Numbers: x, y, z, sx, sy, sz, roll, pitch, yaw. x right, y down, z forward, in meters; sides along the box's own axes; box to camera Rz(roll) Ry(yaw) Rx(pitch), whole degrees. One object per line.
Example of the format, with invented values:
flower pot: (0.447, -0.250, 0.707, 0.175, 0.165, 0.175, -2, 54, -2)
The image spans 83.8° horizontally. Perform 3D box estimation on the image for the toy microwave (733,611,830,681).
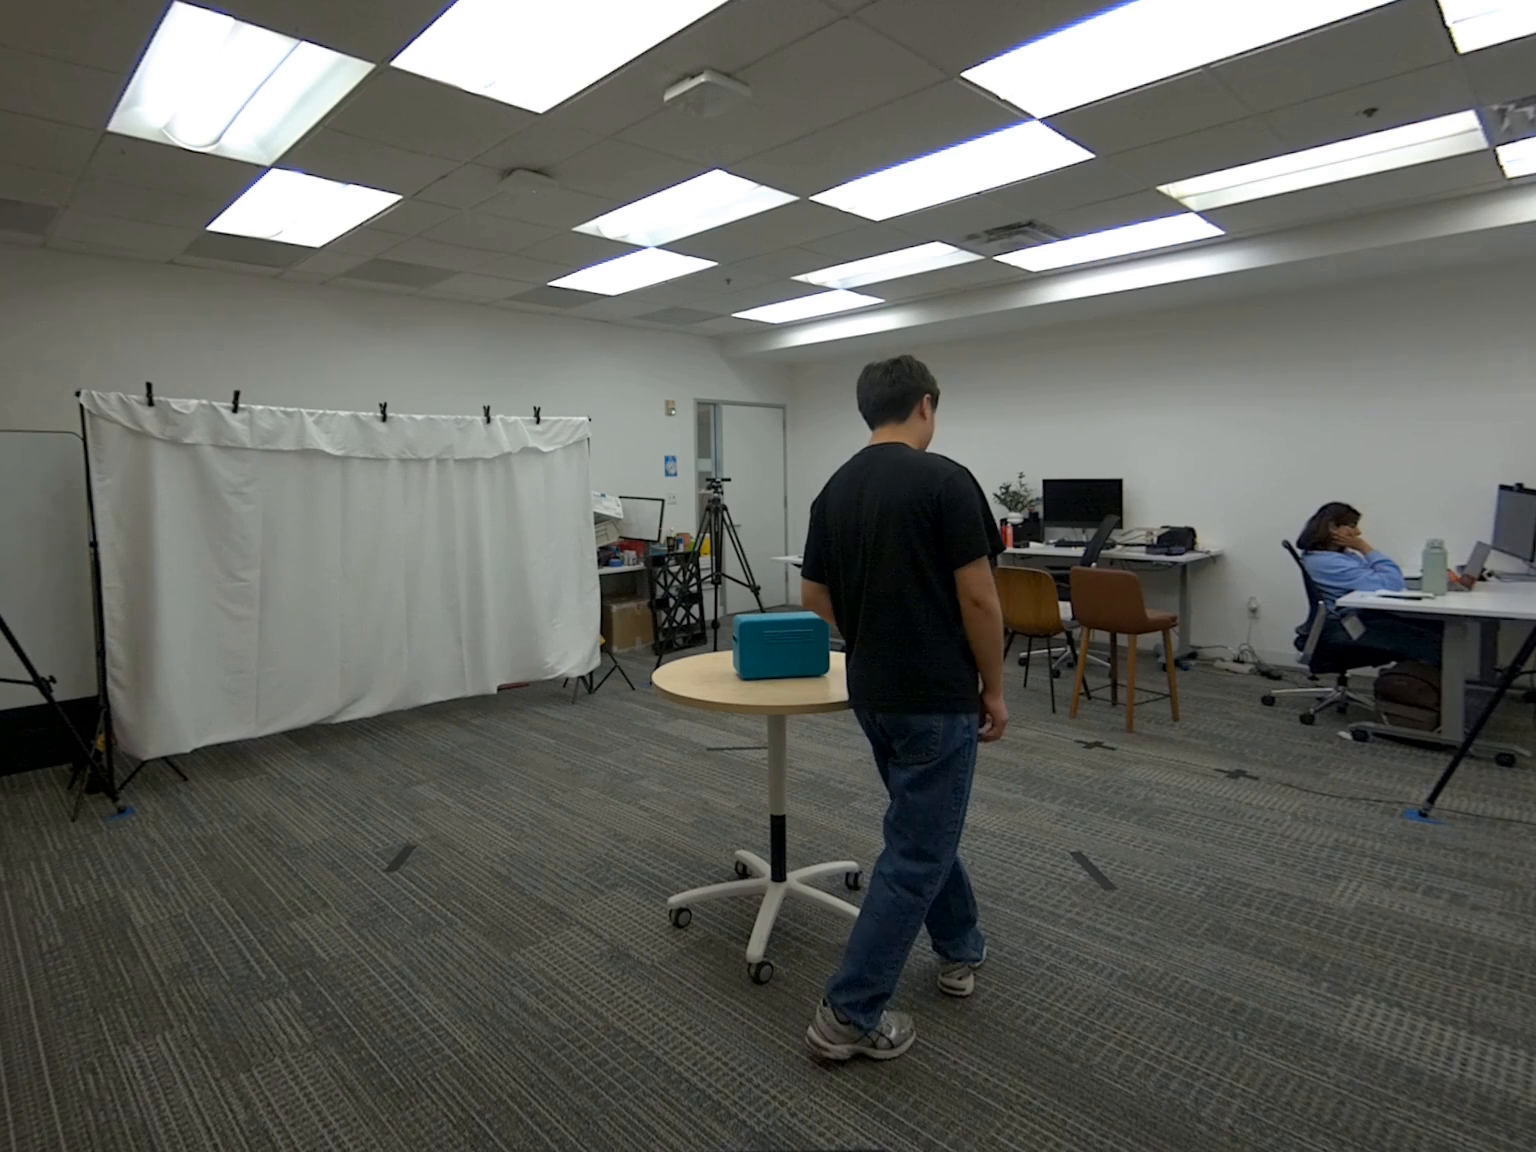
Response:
toy microwave: (0.044, 0.209, 2.613, 0.284, 0.183, 0.154, -2, 5, -8)
